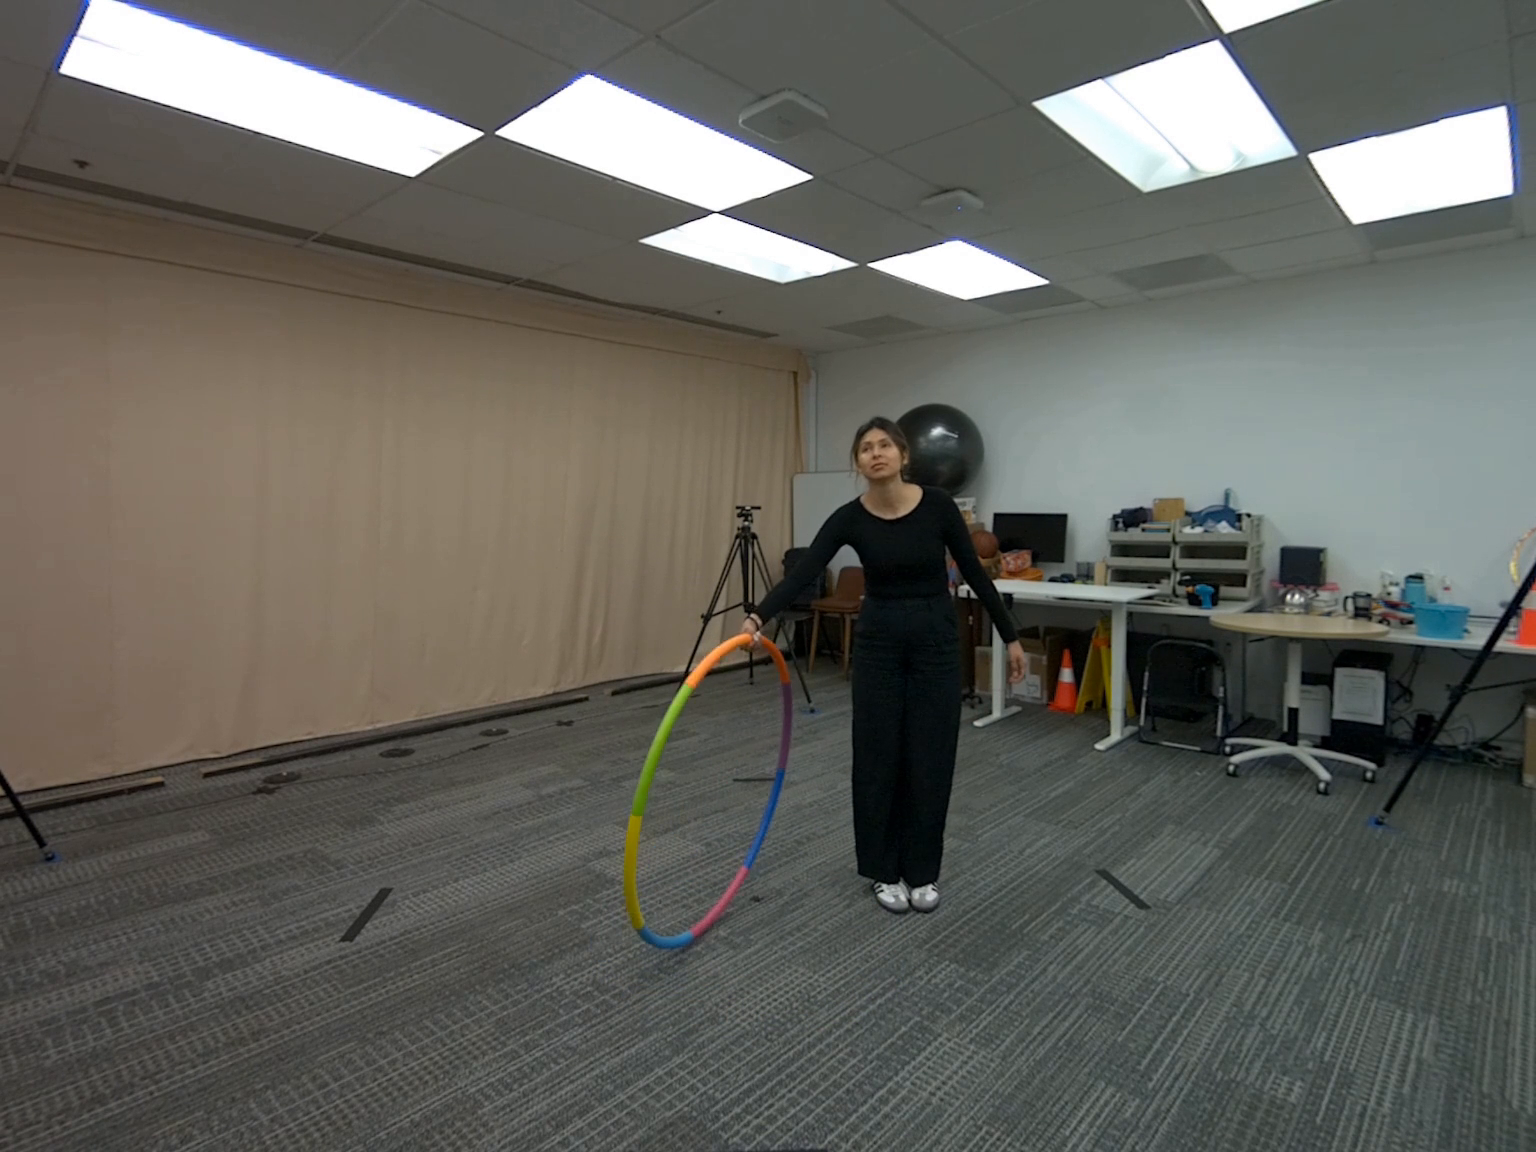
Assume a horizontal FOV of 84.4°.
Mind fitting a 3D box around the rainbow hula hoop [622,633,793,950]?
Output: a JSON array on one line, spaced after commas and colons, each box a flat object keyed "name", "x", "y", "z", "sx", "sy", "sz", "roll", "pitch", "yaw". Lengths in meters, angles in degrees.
[{"name": "rainbow hula hoop", "x": -0.146, "y": 0.672, "z": 2.662, "sx": 0.053, "sy": 0.981, "sz": 0.960, "roll": 13, "pitch": 9, "yaw": 26}]
